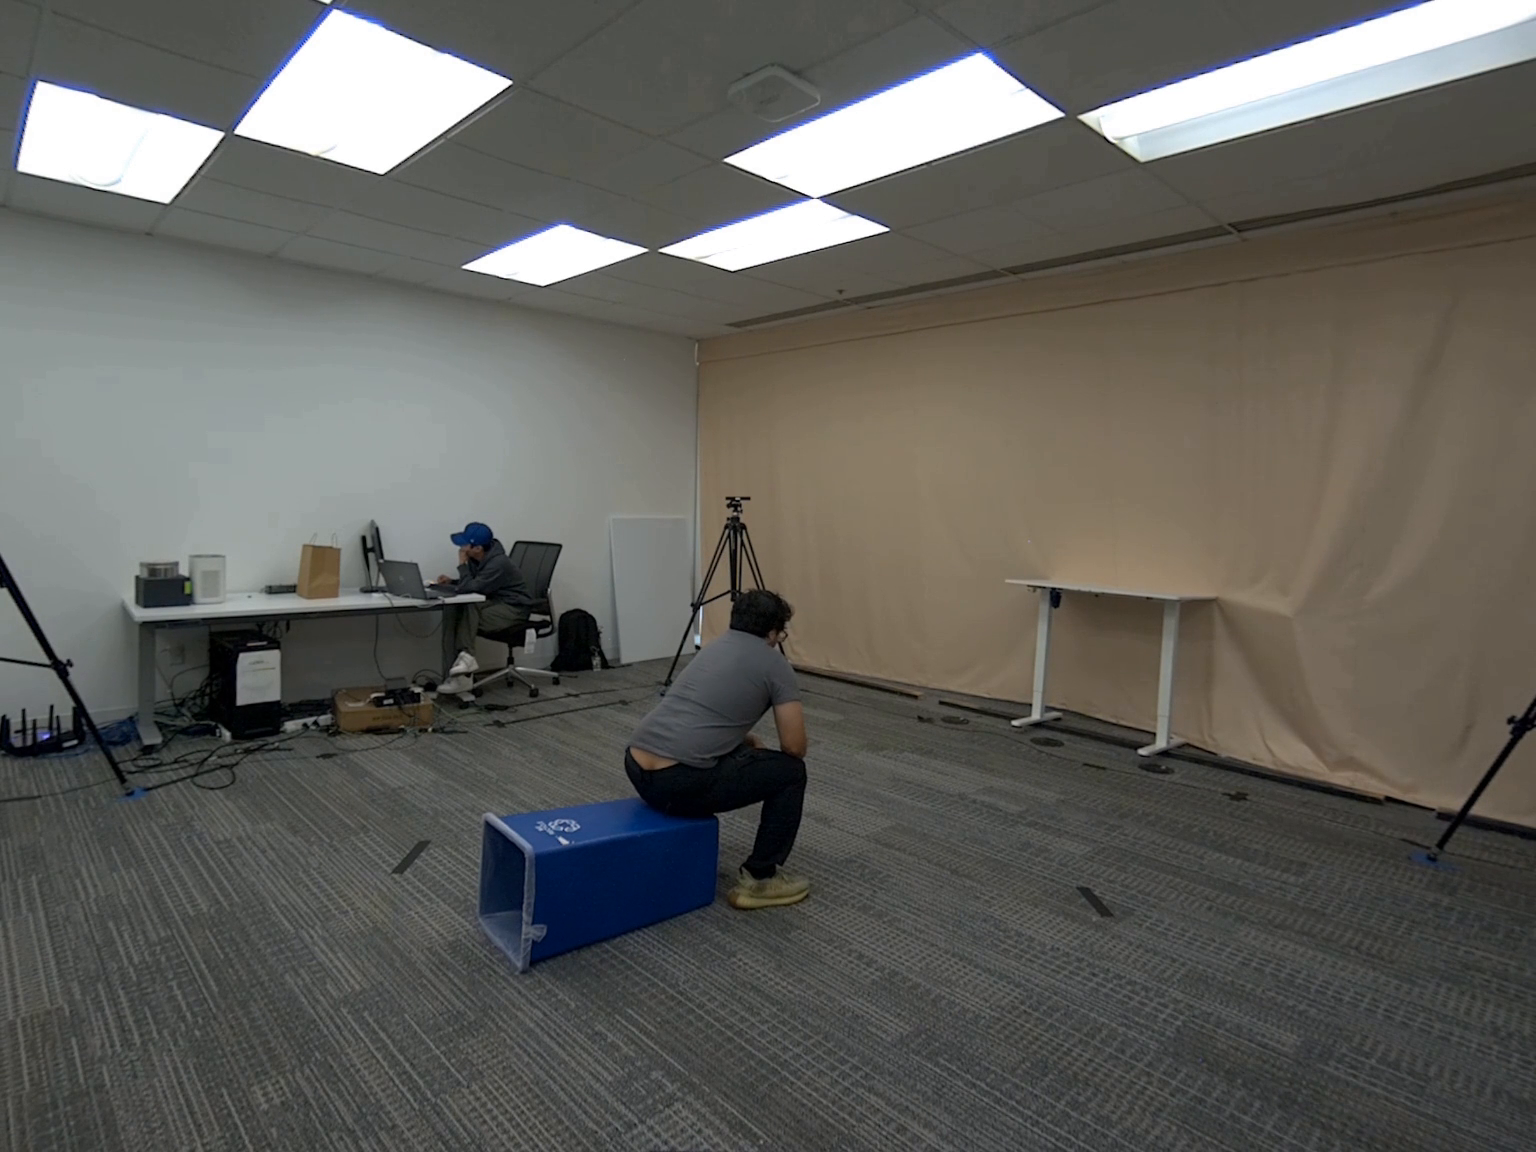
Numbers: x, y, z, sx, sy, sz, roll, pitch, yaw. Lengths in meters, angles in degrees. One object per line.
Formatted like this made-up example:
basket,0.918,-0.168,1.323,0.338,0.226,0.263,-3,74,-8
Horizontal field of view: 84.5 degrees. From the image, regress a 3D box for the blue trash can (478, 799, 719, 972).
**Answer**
blue trash can,-0.552,0.952,2.777,0.697,0.373,0.388,0,5,-39
